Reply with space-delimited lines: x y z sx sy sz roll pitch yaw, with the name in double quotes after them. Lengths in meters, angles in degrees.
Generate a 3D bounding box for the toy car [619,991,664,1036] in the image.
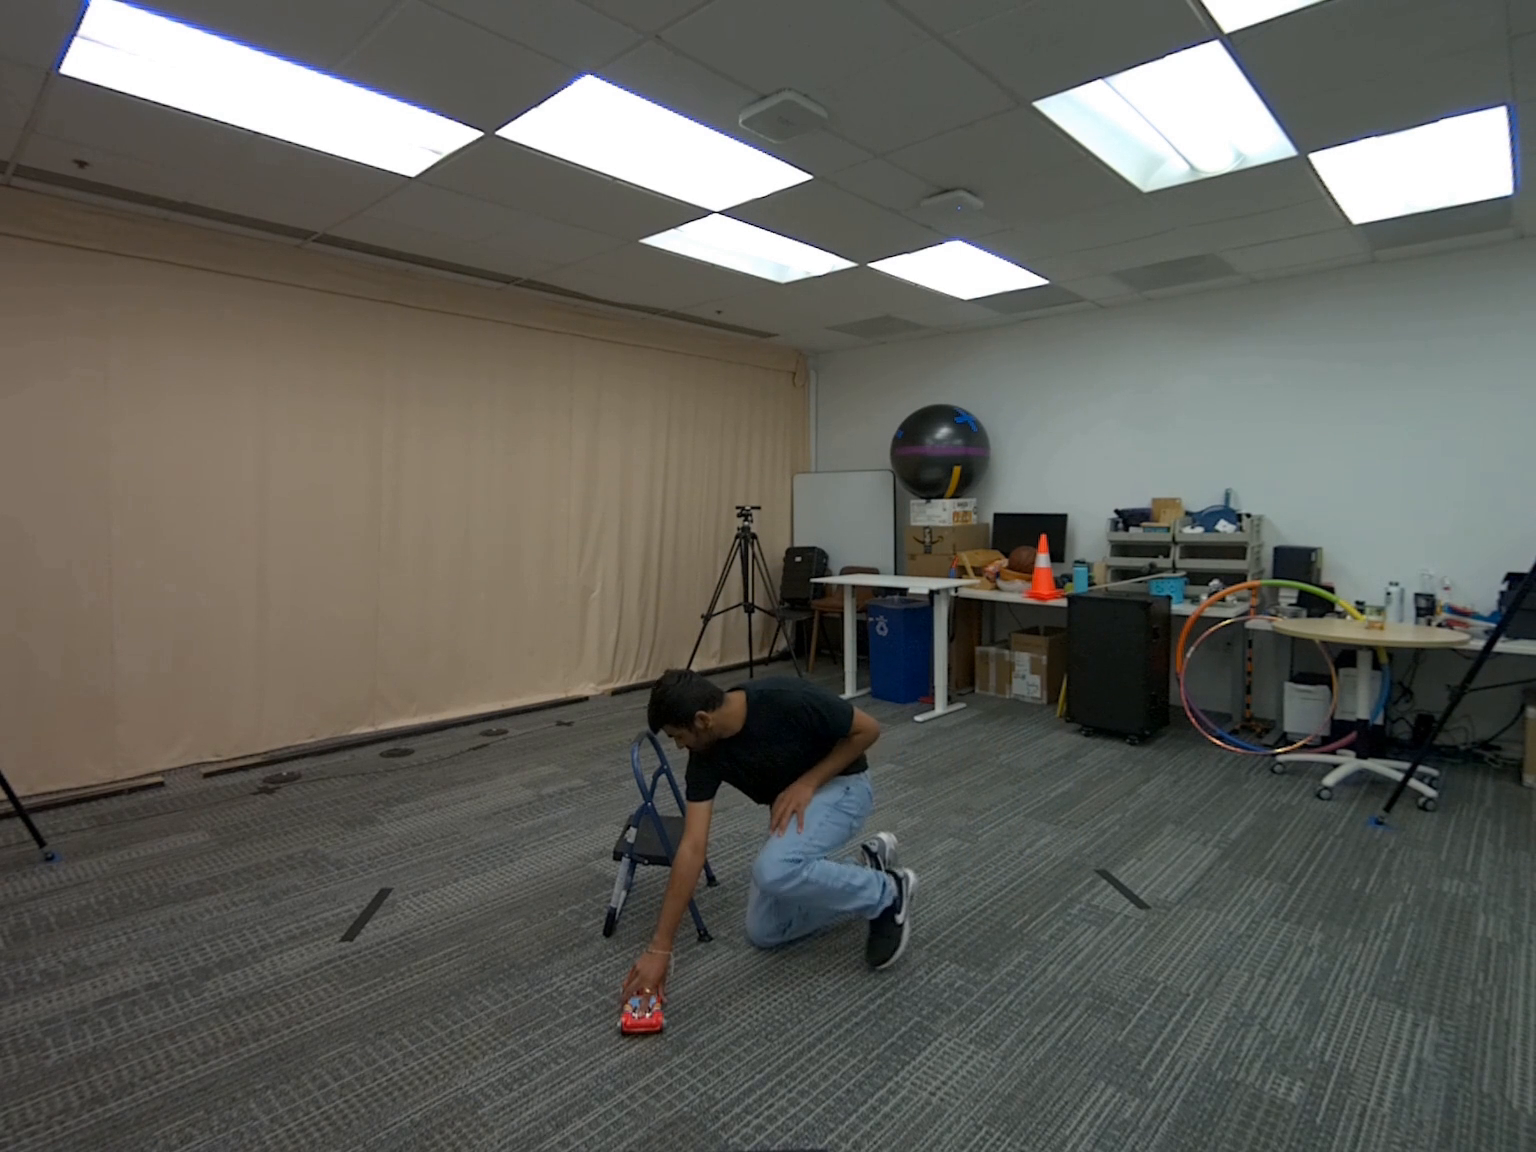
-0.349 1.169 2.323 0.129 0.082 0.258 -1 15 -6 "toy car"
